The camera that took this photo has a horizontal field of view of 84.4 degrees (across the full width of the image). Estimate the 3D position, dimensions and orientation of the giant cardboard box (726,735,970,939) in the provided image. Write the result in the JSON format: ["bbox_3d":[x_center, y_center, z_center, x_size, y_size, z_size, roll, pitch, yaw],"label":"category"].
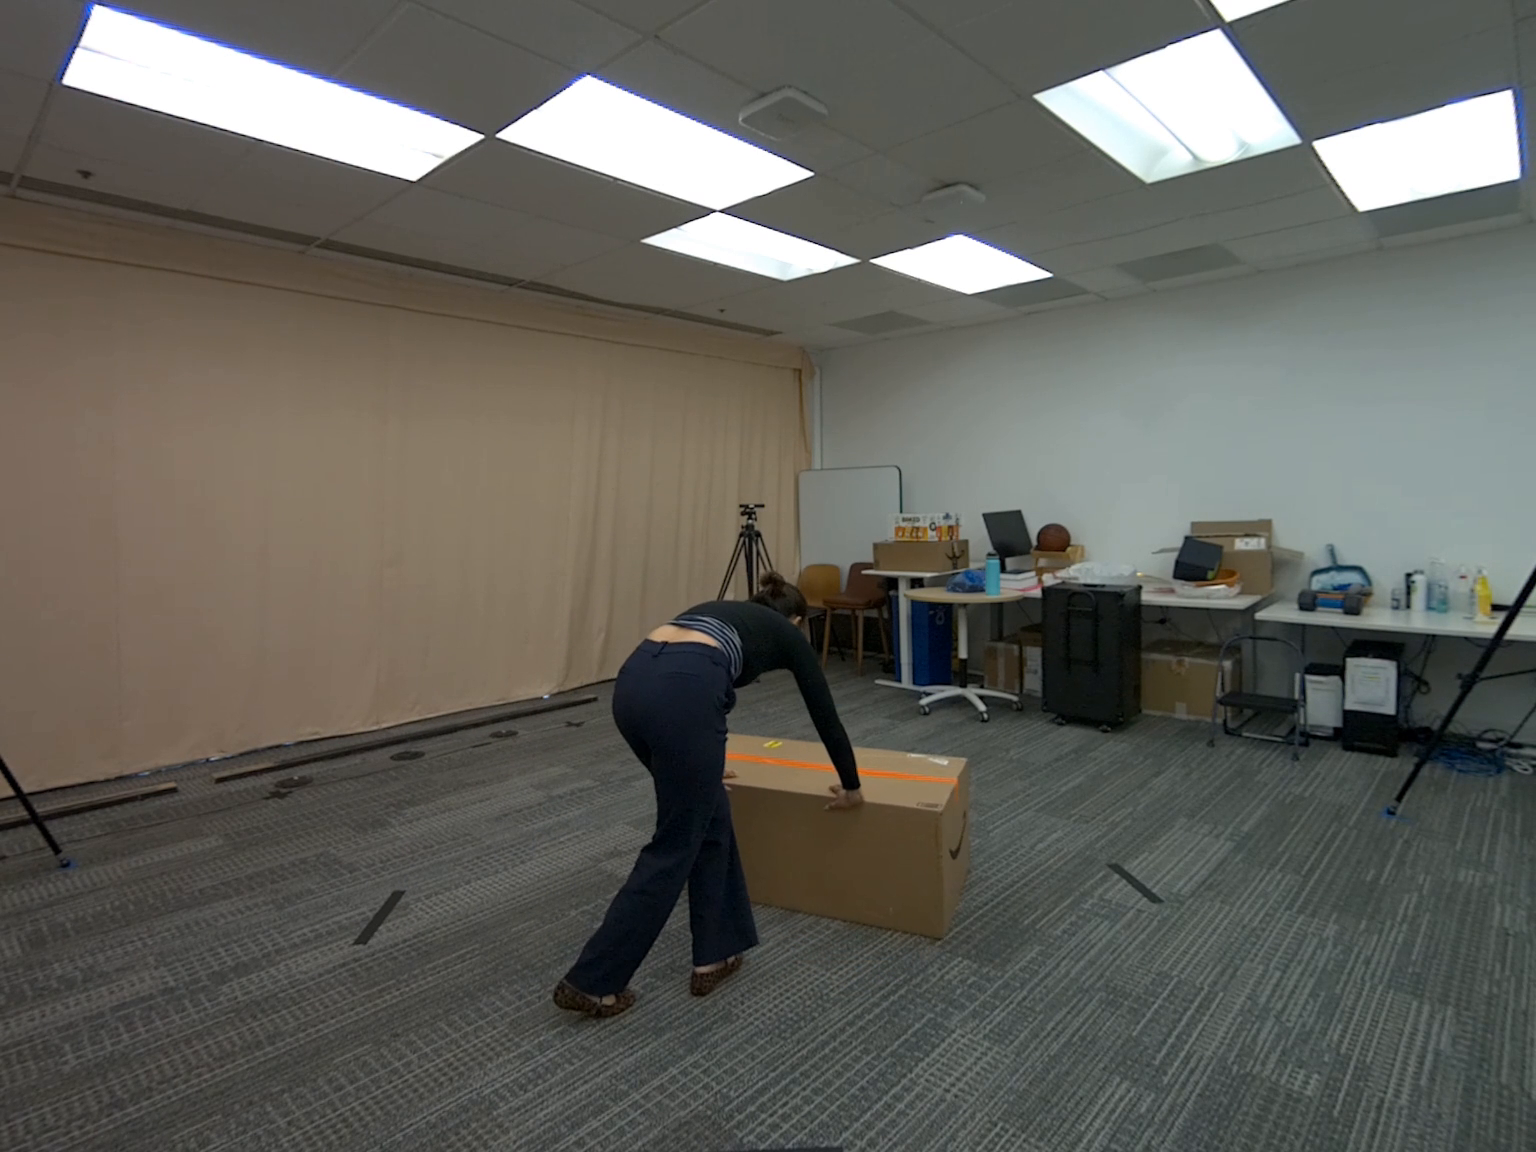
[{"bbox_3d":[0.183,0.908,3.125,1.051,0.425,0.565,1,6,24],"label":"giant cardboard box"}]
